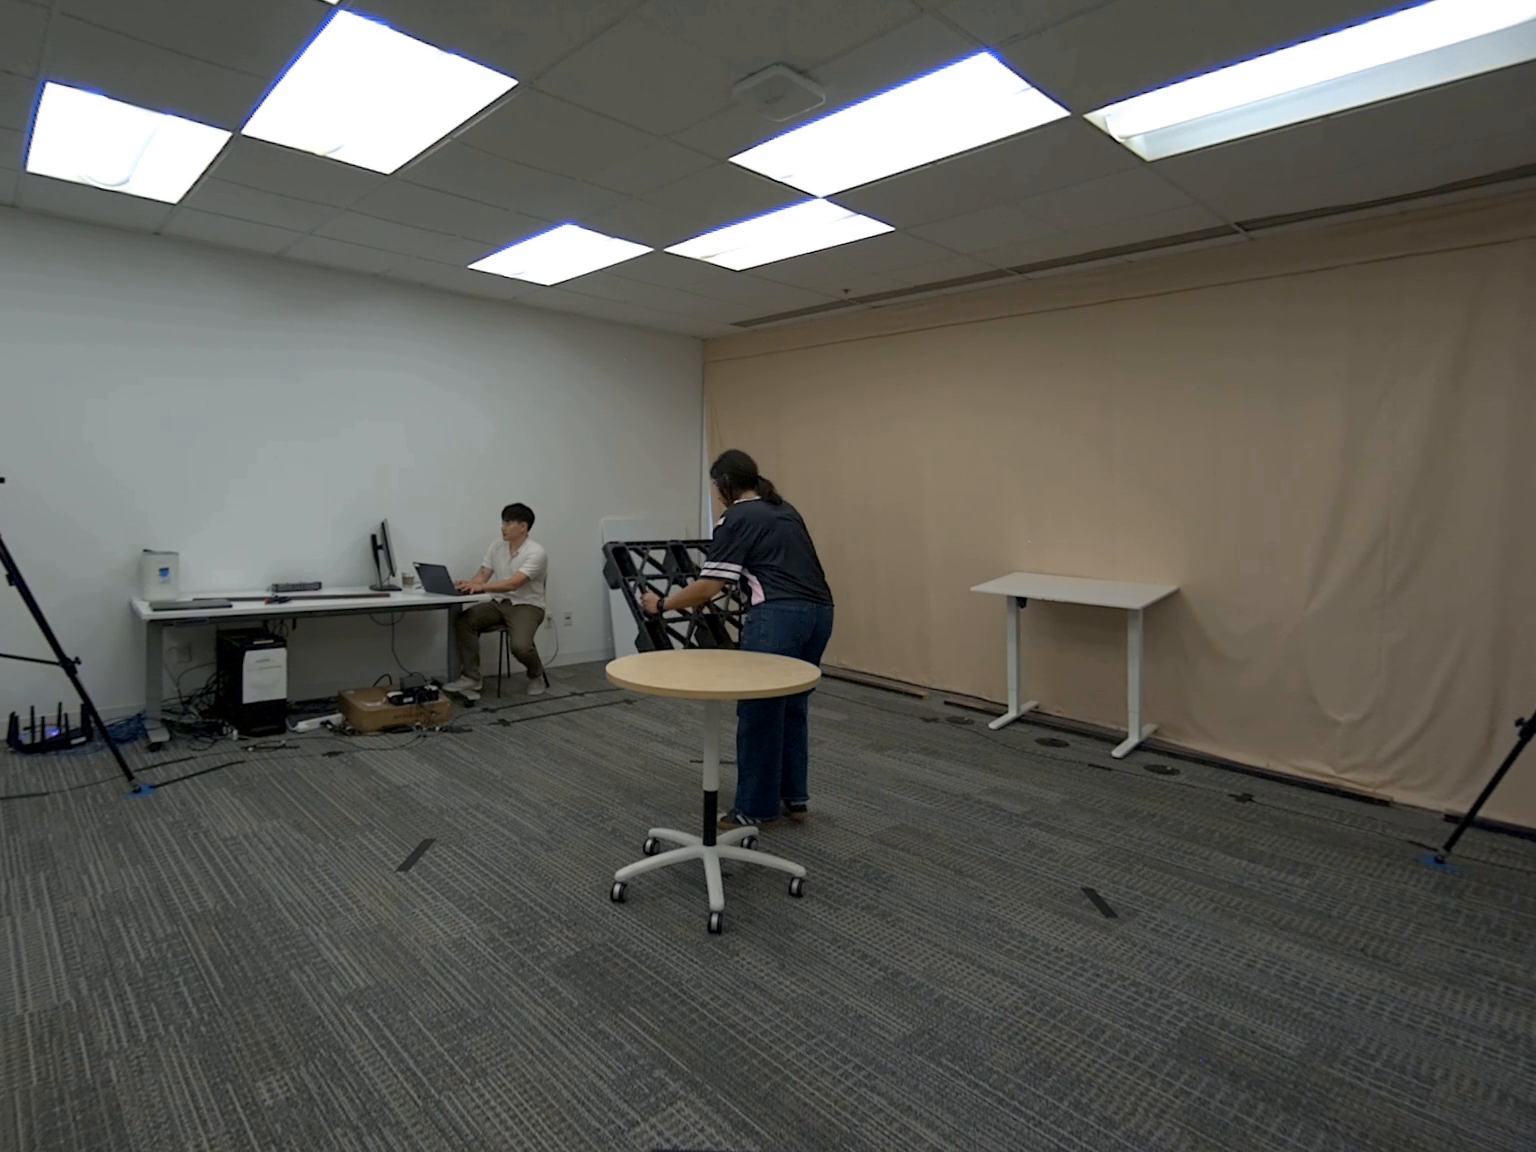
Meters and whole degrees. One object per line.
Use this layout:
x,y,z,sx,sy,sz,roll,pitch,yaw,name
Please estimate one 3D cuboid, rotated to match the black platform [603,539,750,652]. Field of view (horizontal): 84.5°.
-0.344,0.115,3.851,0.787,0.618,0.143,-3,-32,-46,black platform
